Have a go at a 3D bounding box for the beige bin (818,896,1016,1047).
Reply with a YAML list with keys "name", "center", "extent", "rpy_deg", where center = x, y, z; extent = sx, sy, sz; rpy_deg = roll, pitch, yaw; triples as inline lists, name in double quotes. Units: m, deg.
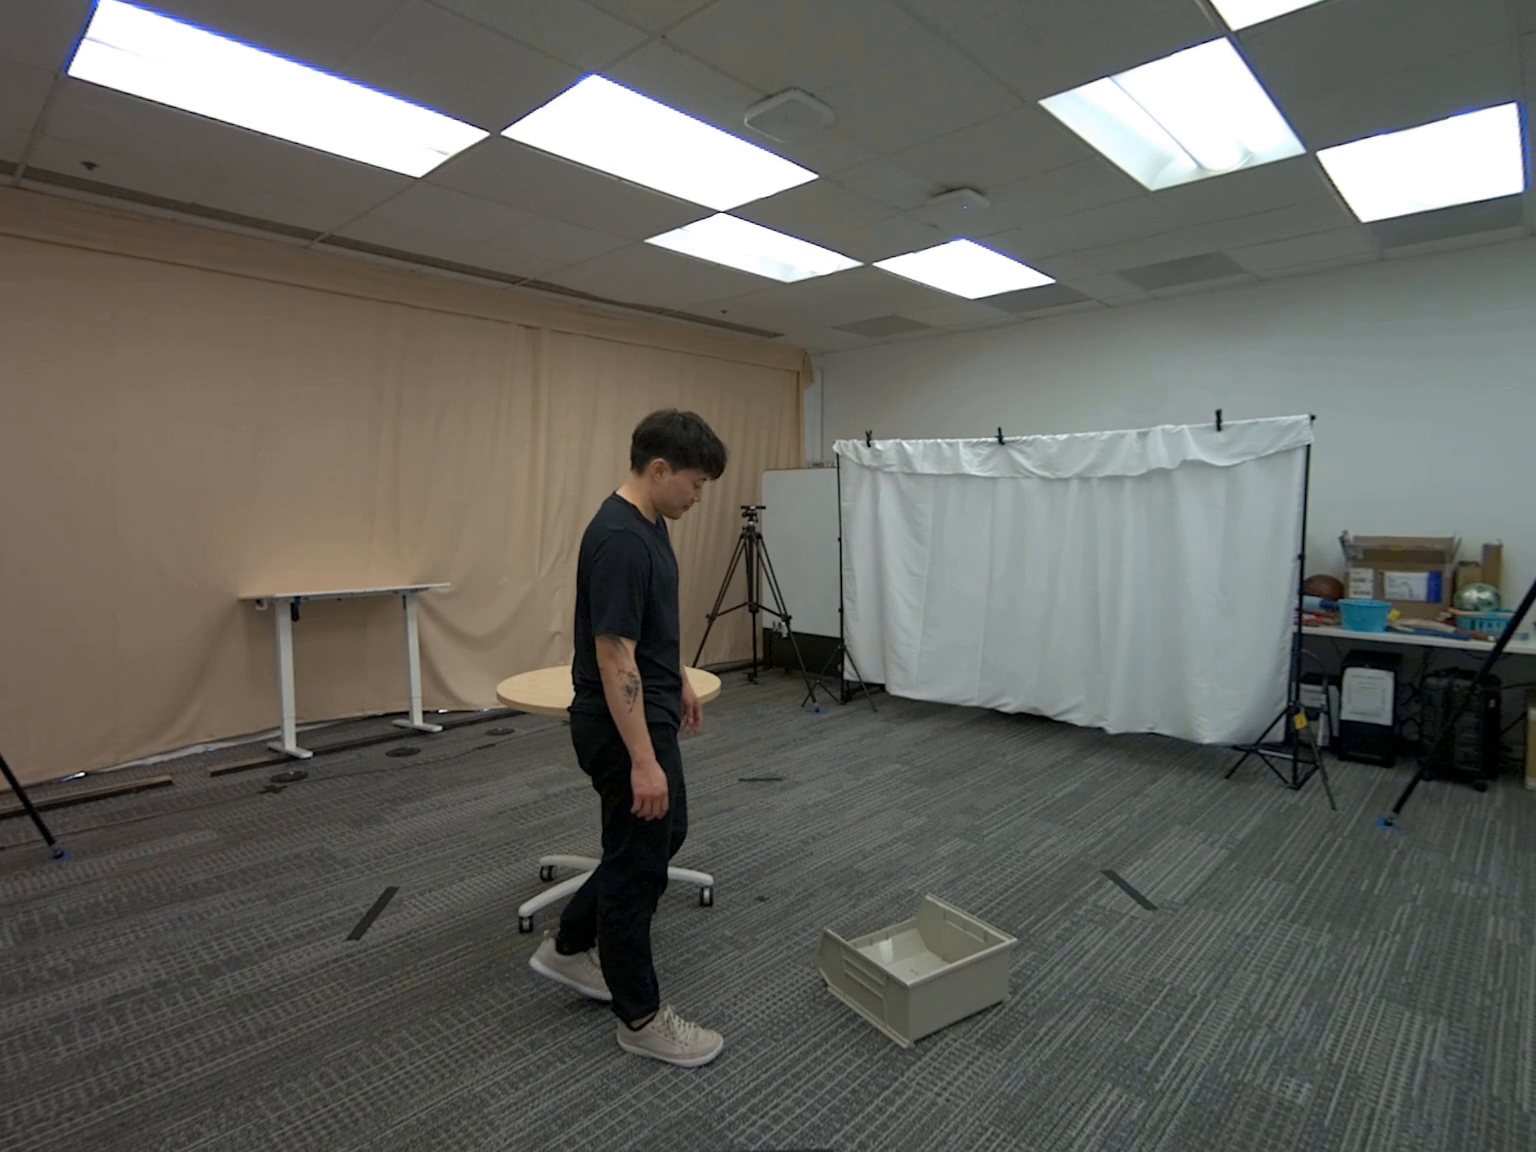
- name: "beige bin"
  center: [0.426, 1.105, 2.402]
  extent: [0.410, 0.188, 0.389]
  rpy_deg: [-3, 6, -34]
